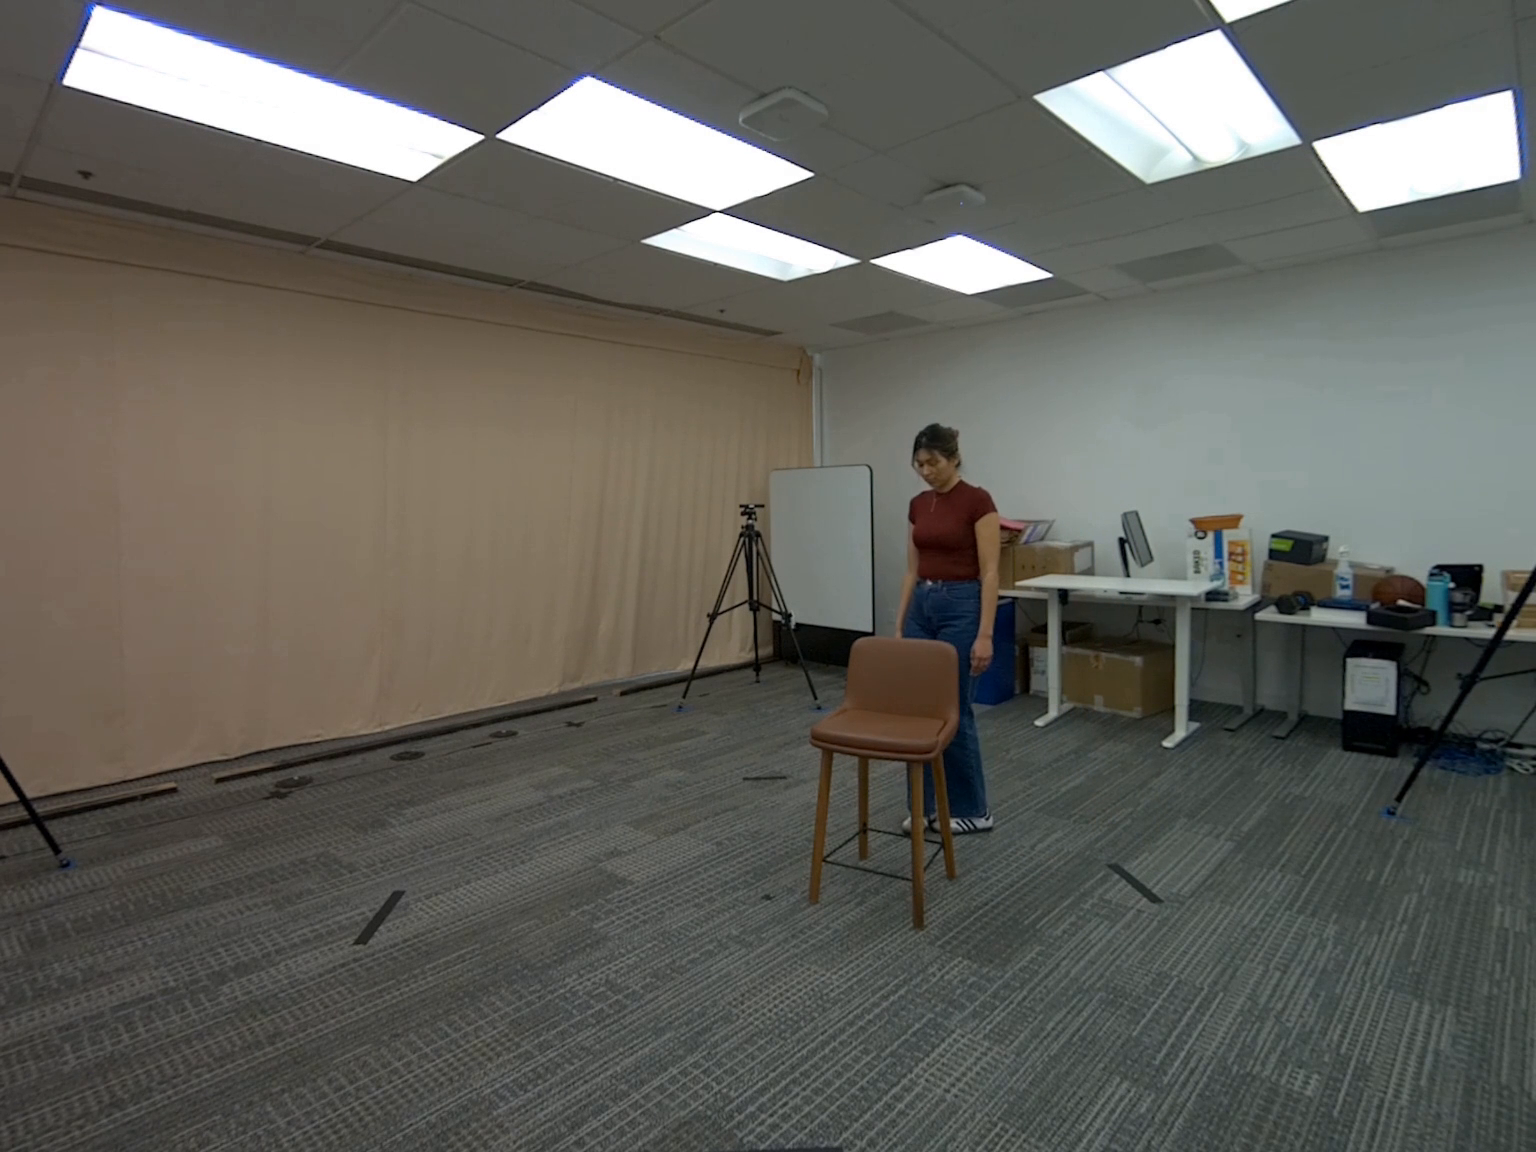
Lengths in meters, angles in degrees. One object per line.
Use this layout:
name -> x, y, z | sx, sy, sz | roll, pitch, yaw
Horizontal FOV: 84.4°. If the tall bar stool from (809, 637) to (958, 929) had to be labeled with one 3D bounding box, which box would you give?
tall bar stool -> 0.427, 0.693, 3.007 | 0.470, 0.889, 0.454 | 2, 2, 31
